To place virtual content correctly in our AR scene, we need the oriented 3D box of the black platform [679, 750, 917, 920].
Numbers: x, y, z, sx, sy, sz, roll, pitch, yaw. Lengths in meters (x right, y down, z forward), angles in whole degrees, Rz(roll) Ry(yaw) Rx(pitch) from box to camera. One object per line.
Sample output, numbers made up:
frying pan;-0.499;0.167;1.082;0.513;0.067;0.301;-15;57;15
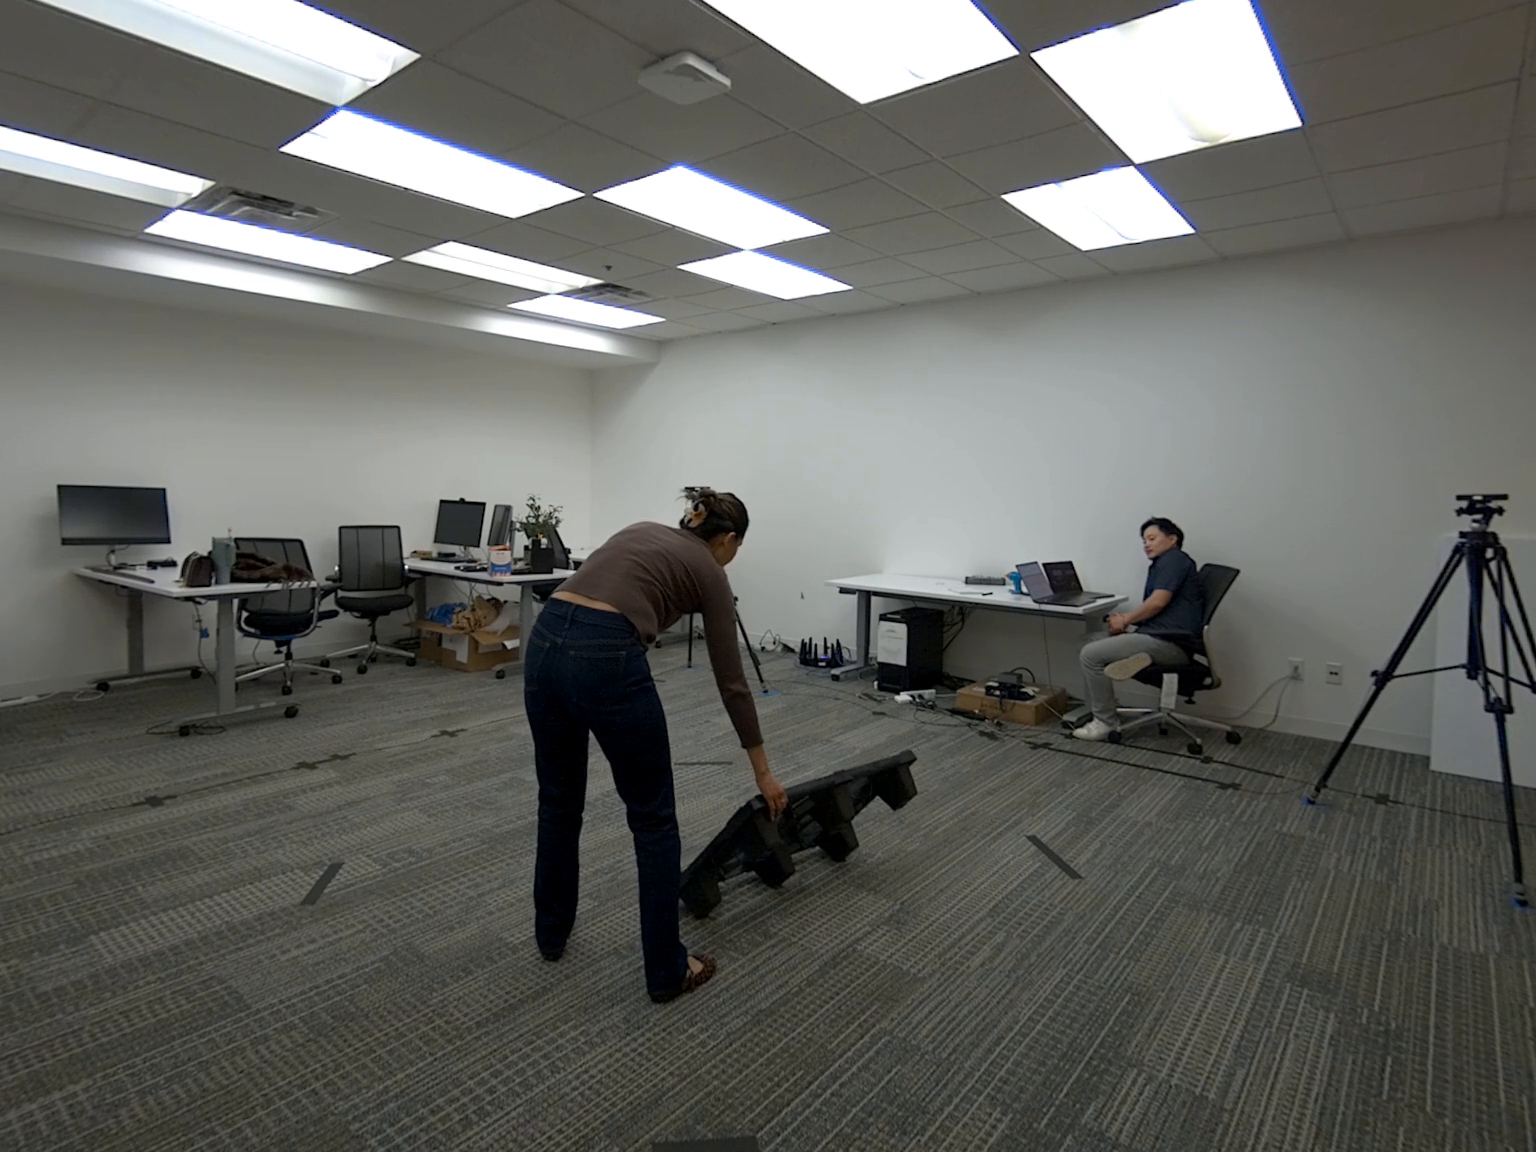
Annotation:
black platform;0.106;0.881;2.878;0.781;0.601;0.149;-3;48;-42
